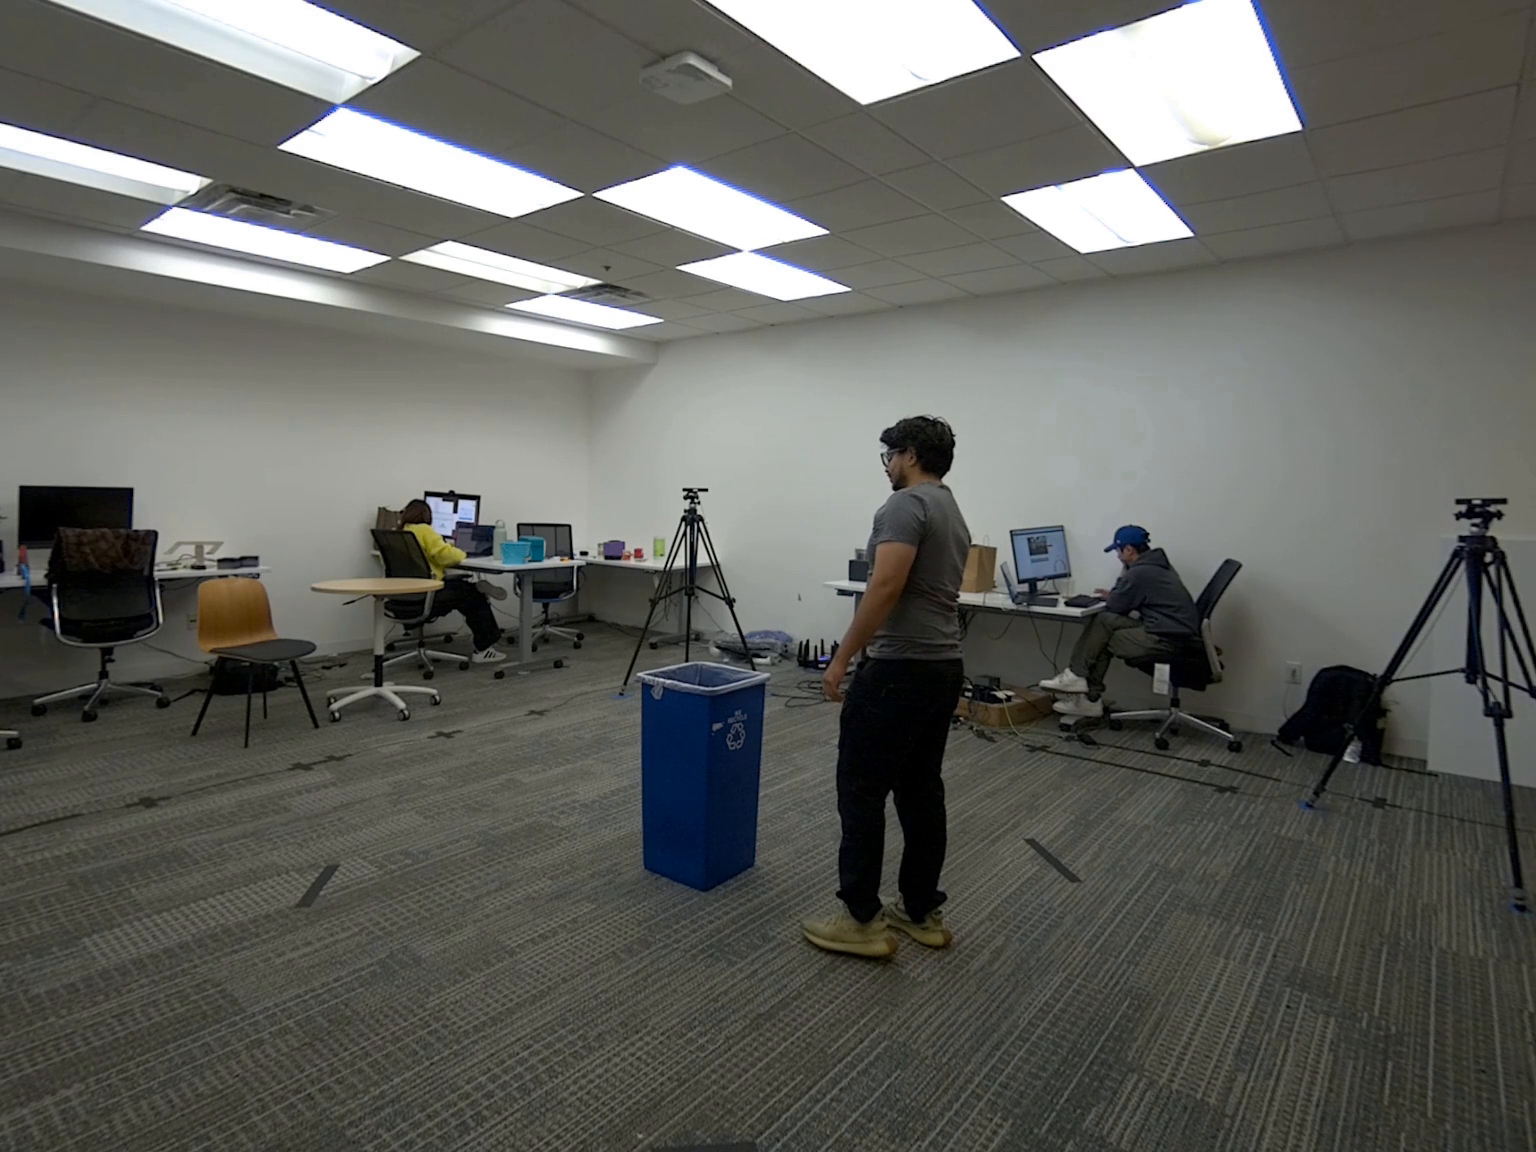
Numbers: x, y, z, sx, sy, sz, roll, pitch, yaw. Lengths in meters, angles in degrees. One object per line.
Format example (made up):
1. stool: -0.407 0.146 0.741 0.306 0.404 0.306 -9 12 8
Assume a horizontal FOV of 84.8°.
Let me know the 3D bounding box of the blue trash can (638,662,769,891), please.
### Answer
1. blue trash can: -0.245 0.710 3.118 0.386 0.712 0.367 3 3 36
